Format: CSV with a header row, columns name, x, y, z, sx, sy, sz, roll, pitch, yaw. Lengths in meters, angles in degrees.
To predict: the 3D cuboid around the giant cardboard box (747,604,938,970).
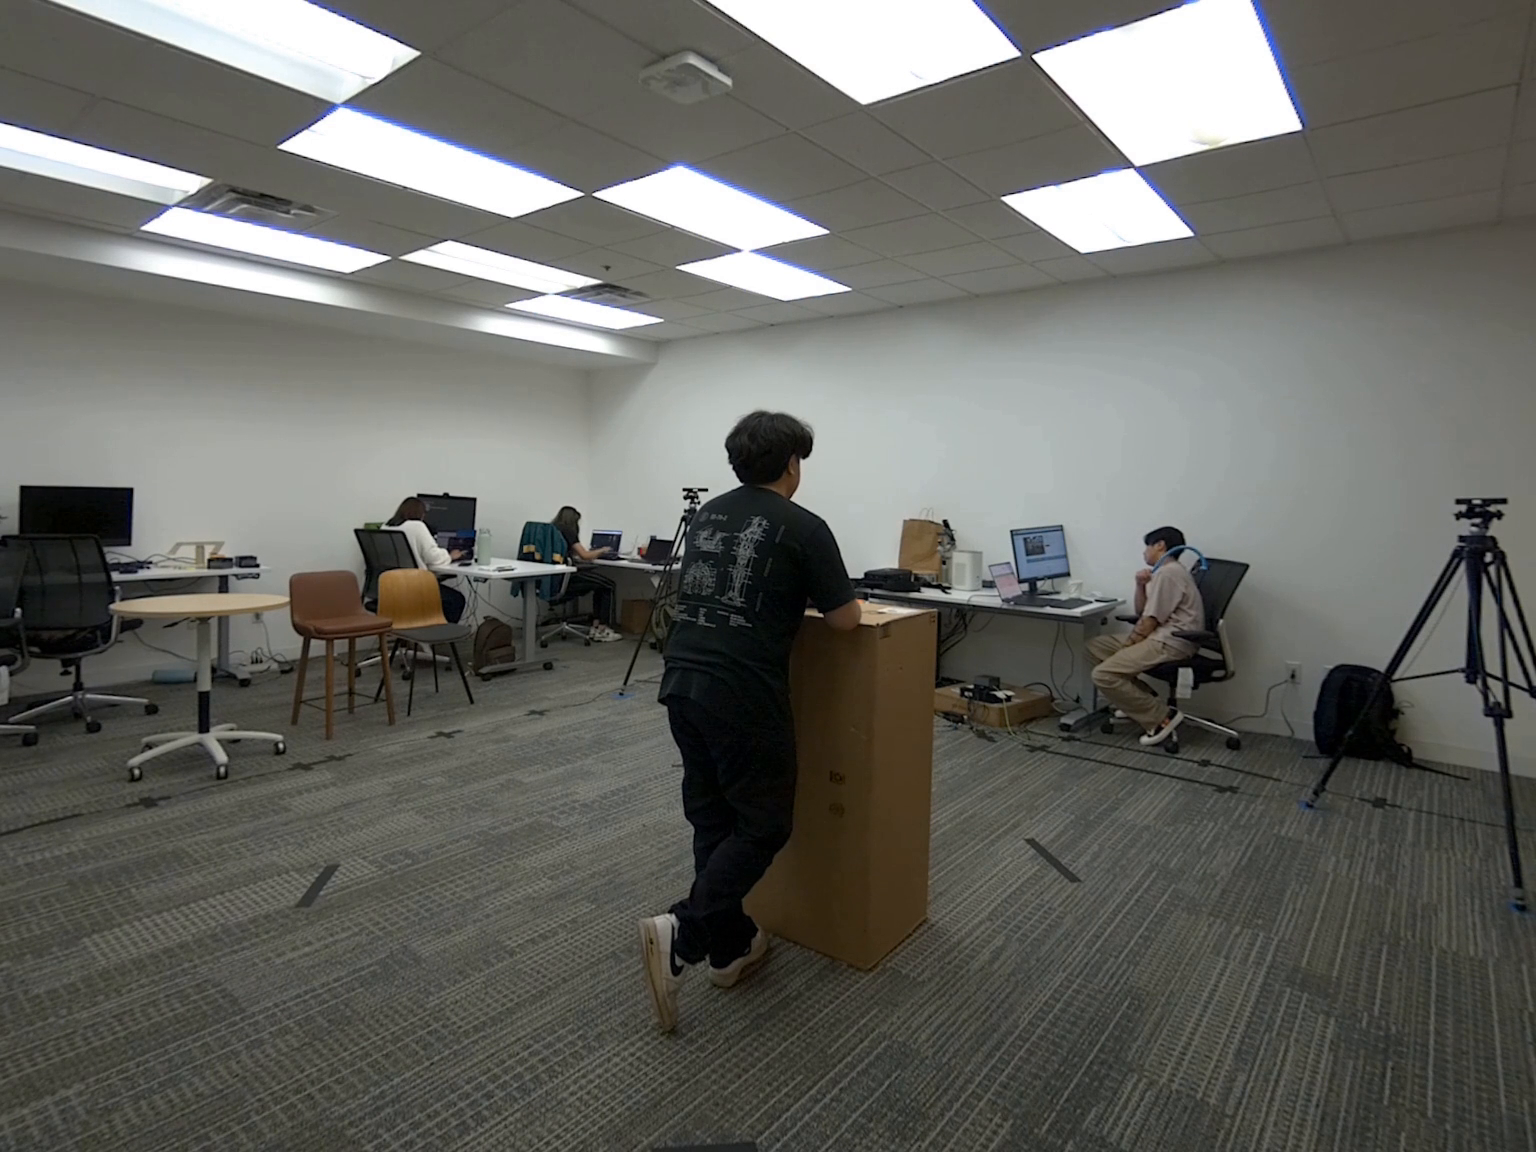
name,x,y,z,sx,sy,sz,roll,pitch,yaw
giant cardboard box,0.180,0.600,2.782,0.603,1.024,0.433,4,4,37
